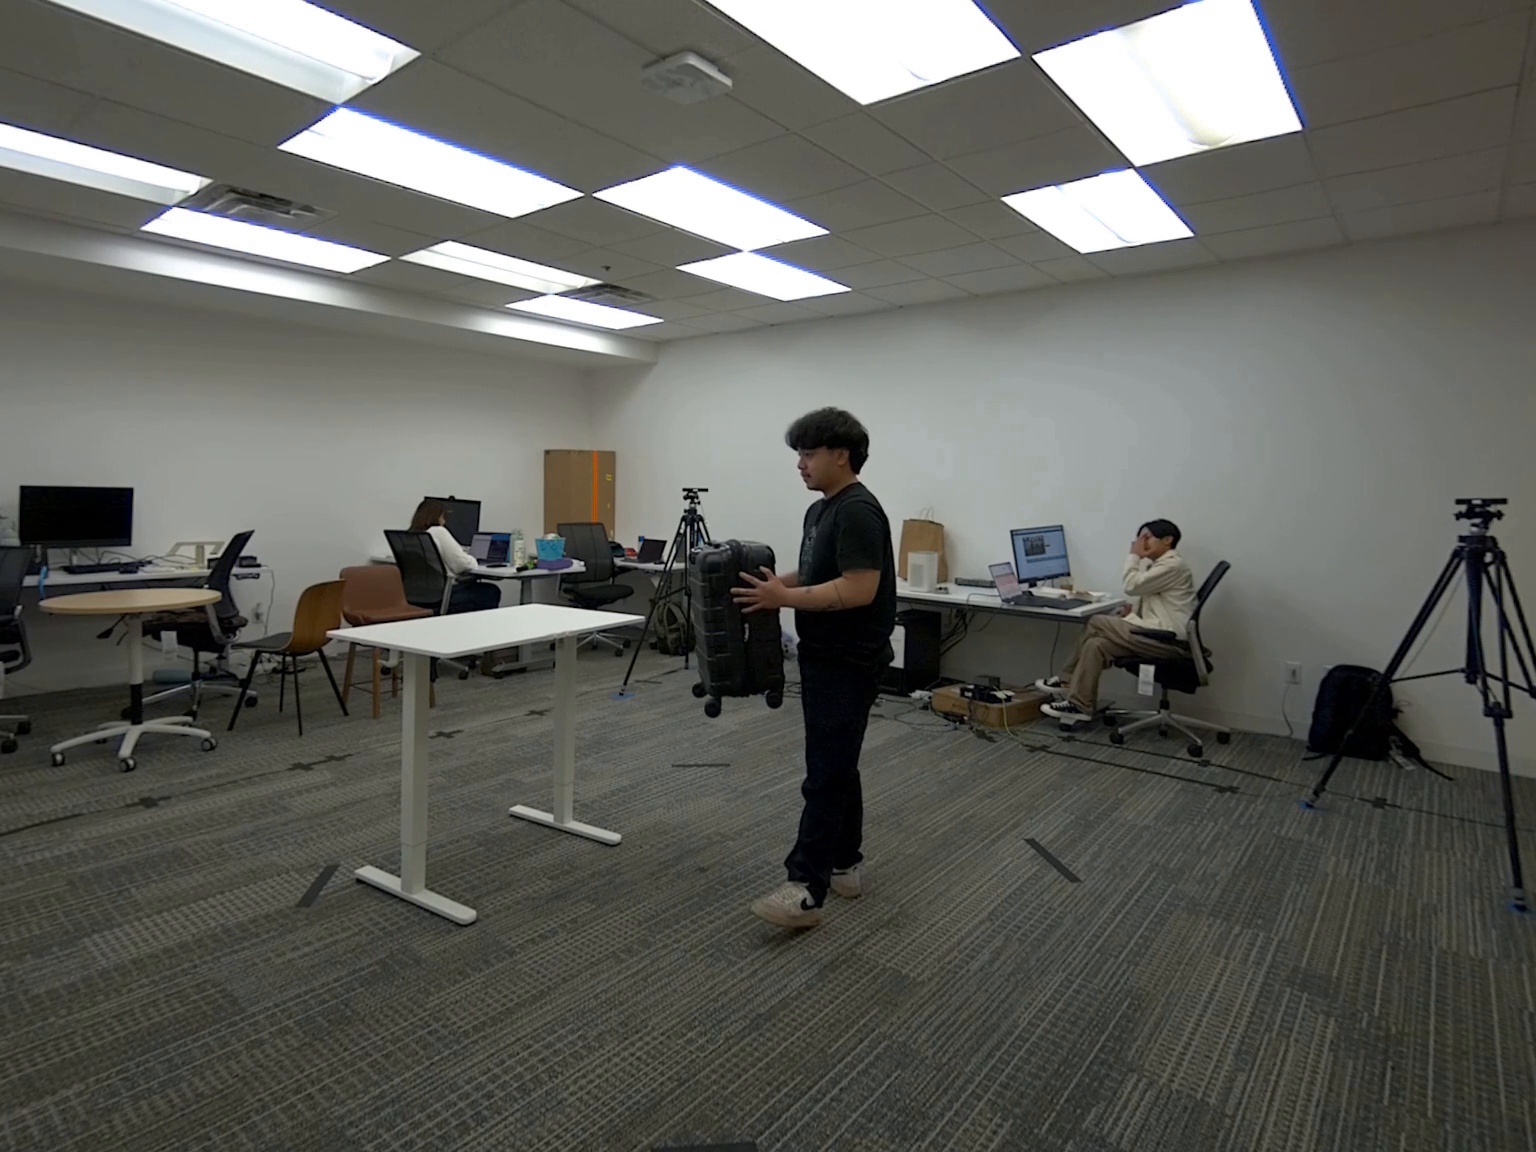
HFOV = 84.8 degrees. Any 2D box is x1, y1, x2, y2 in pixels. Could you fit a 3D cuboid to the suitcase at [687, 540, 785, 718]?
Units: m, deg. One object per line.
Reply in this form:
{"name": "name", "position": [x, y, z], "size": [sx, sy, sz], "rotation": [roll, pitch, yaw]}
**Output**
{"name": "suitcase", "position": [-0.125, 0.145, 2.881], "size": [0.246, 0.548, 0.379], "rotation": [-6, 3, -8]}
